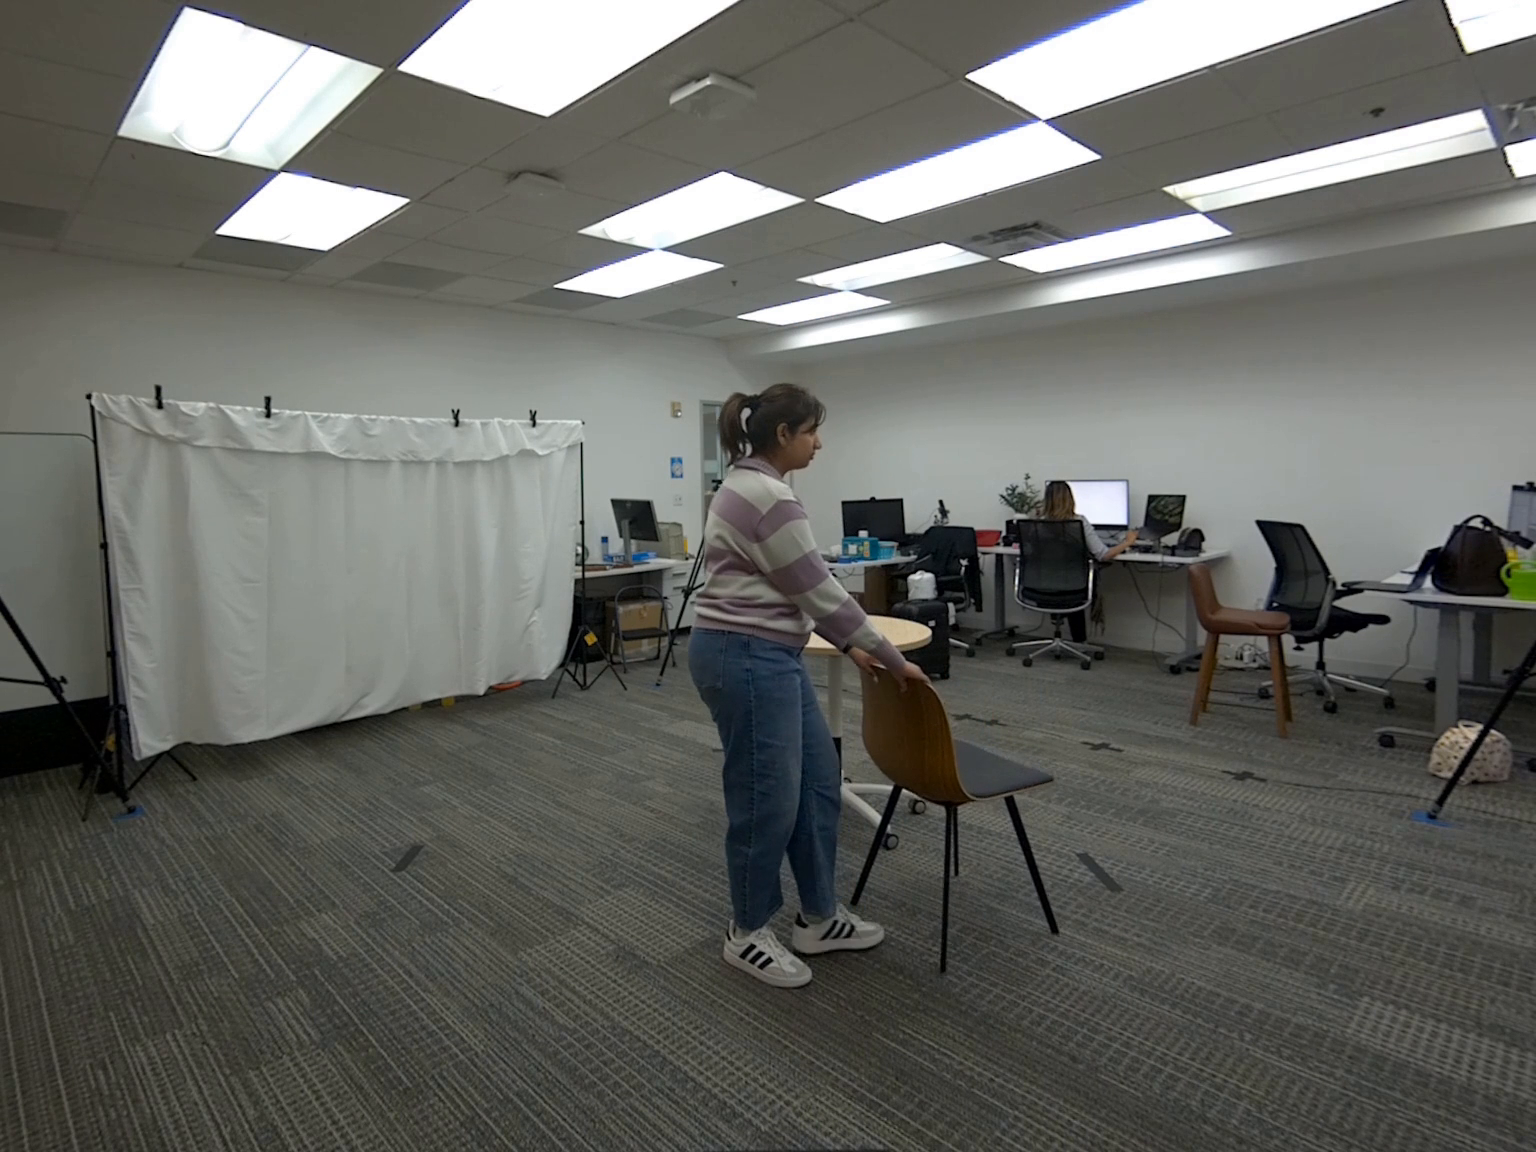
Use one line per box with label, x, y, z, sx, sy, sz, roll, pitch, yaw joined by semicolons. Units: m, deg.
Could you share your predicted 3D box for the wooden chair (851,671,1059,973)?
wooden chair;0.577;0.656;2.676;0.513;0.872;0.491;-8;7;-27
